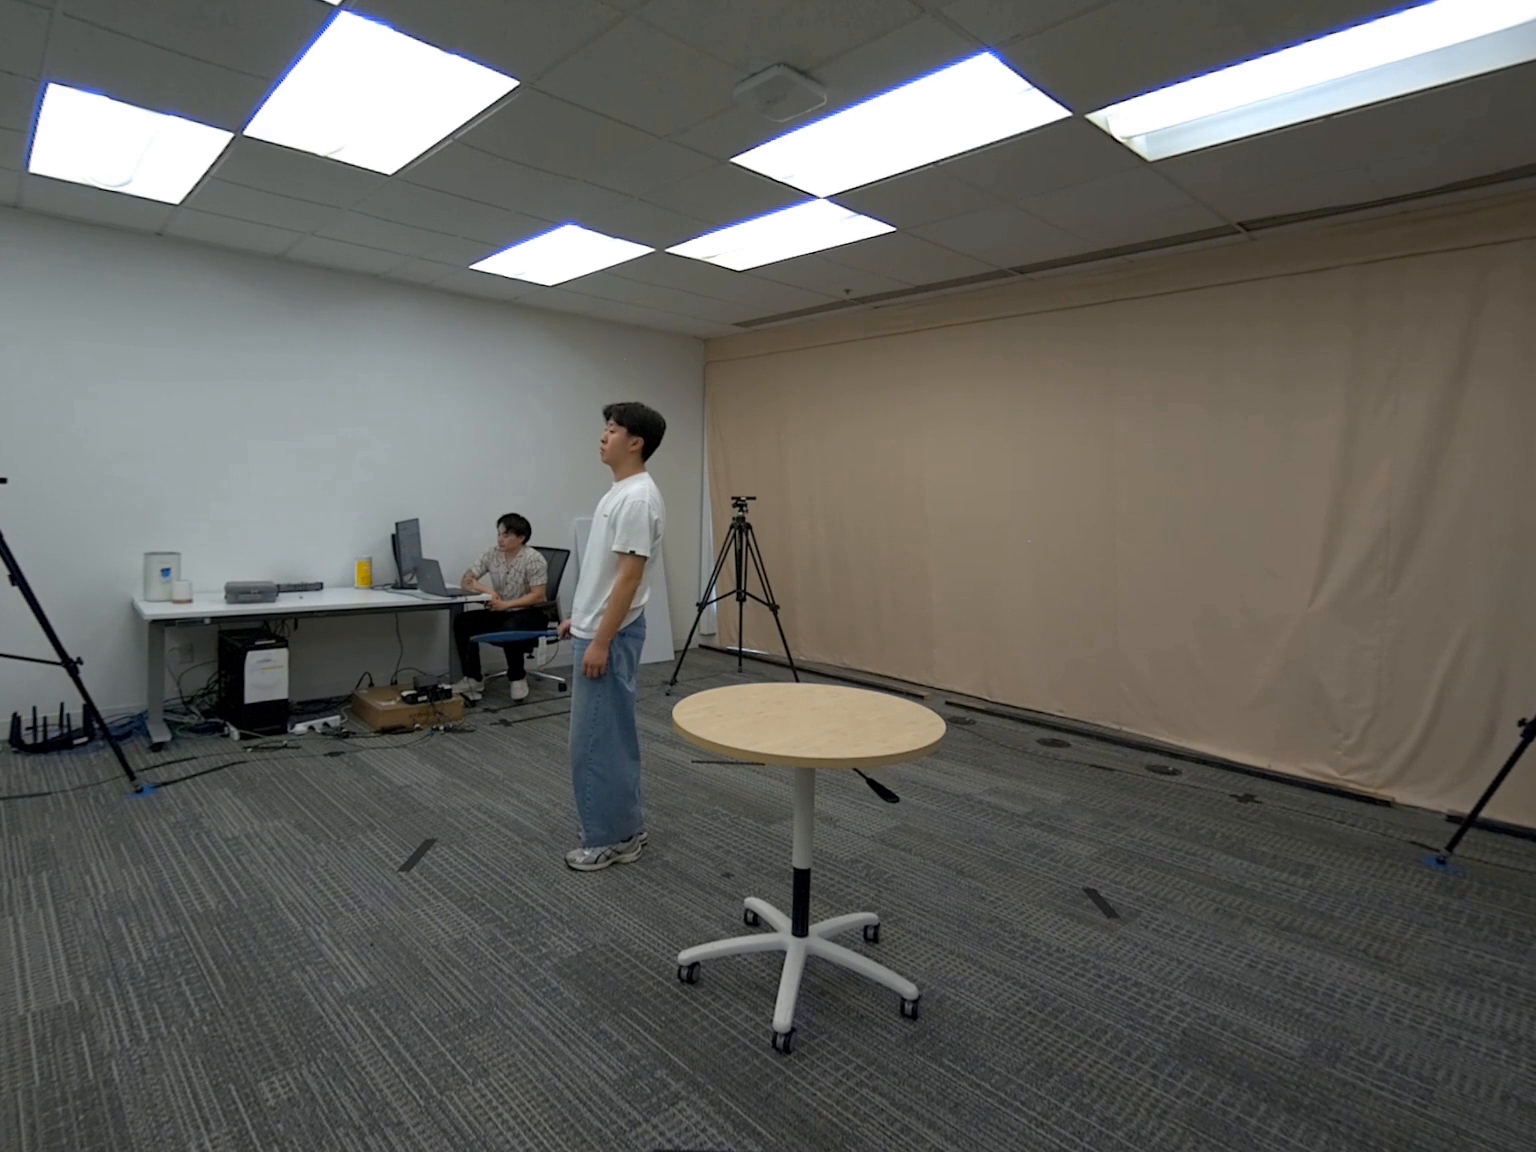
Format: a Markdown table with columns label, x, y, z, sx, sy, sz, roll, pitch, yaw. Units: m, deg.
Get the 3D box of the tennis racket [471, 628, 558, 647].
| label | x | y | z | sx | sy | sz | roll | pitch | yaw |
| --- | --- | --- | --- | --- | --- | --- | --- | --- | --- |
| tennis racket | -1.002 | 0.249 | 3.442 | 0.431 | 0.032 | 0.213 | -5 | -7 | -6 |
